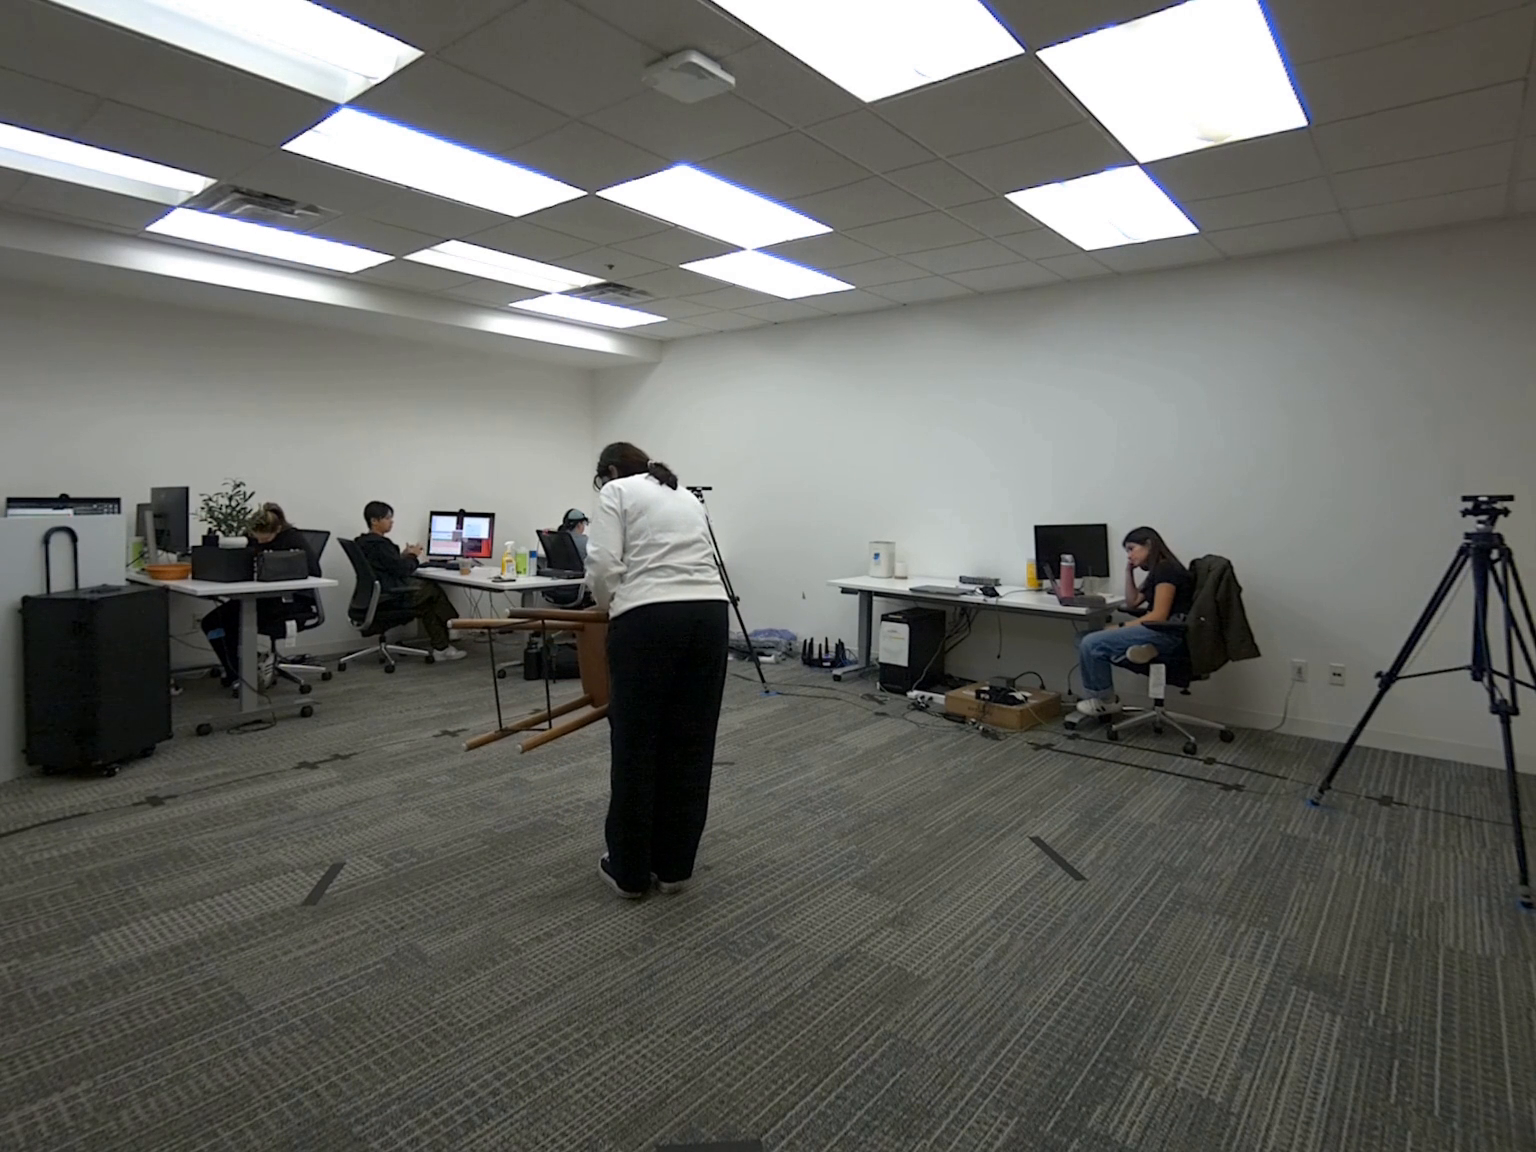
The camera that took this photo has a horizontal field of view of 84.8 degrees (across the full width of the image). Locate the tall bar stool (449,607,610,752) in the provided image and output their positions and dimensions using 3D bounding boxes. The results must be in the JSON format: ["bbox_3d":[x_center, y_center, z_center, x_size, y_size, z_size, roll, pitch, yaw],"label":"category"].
[{"bbox_3d":[-0.652,0.333,3.112,0.468,0.471,0.862,-12,-7,42],"label":"tall bar stool"}]
